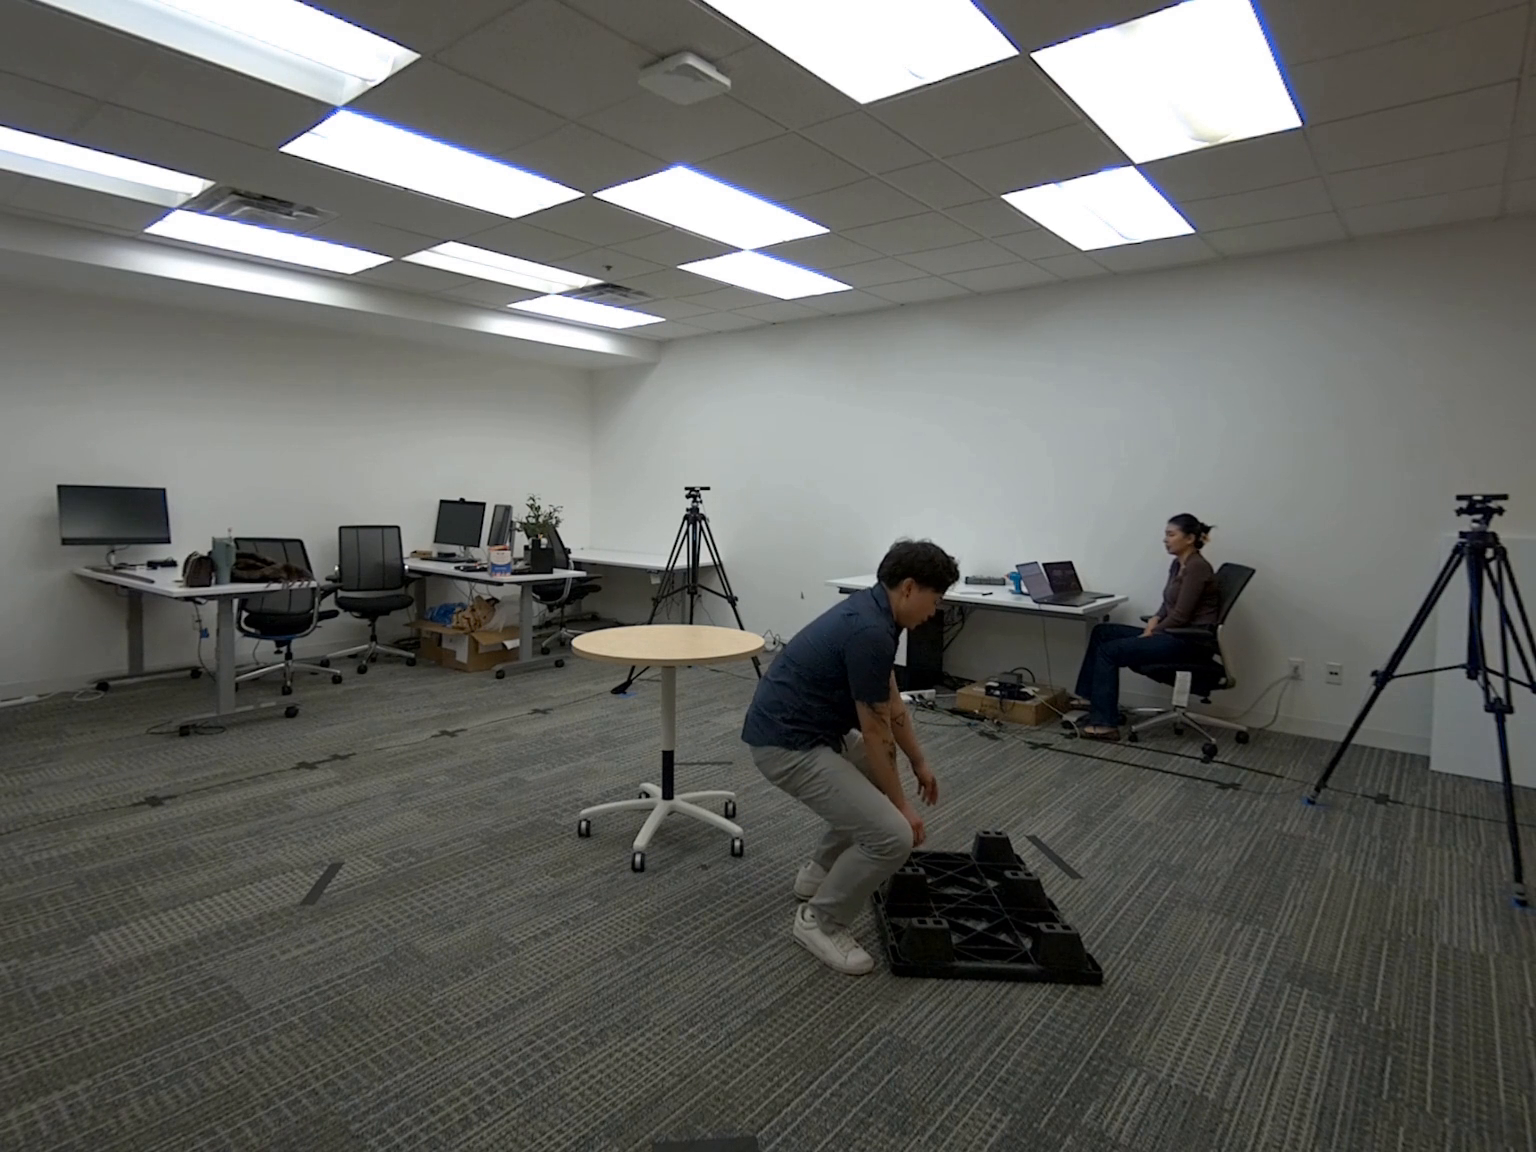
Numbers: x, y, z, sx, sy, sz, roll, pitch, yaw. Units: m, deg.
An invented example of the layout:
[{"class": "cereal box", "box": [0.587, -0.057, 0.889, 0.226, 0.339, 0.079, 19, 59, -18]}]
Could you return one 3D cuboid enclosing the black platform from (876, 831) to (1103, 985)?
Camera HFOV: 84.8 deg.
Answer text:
[{"class": "black platform", "box": [0.651, 1.044, 2.813, 0.606, 0.143, 0.808, 0, 6, 0]}]
